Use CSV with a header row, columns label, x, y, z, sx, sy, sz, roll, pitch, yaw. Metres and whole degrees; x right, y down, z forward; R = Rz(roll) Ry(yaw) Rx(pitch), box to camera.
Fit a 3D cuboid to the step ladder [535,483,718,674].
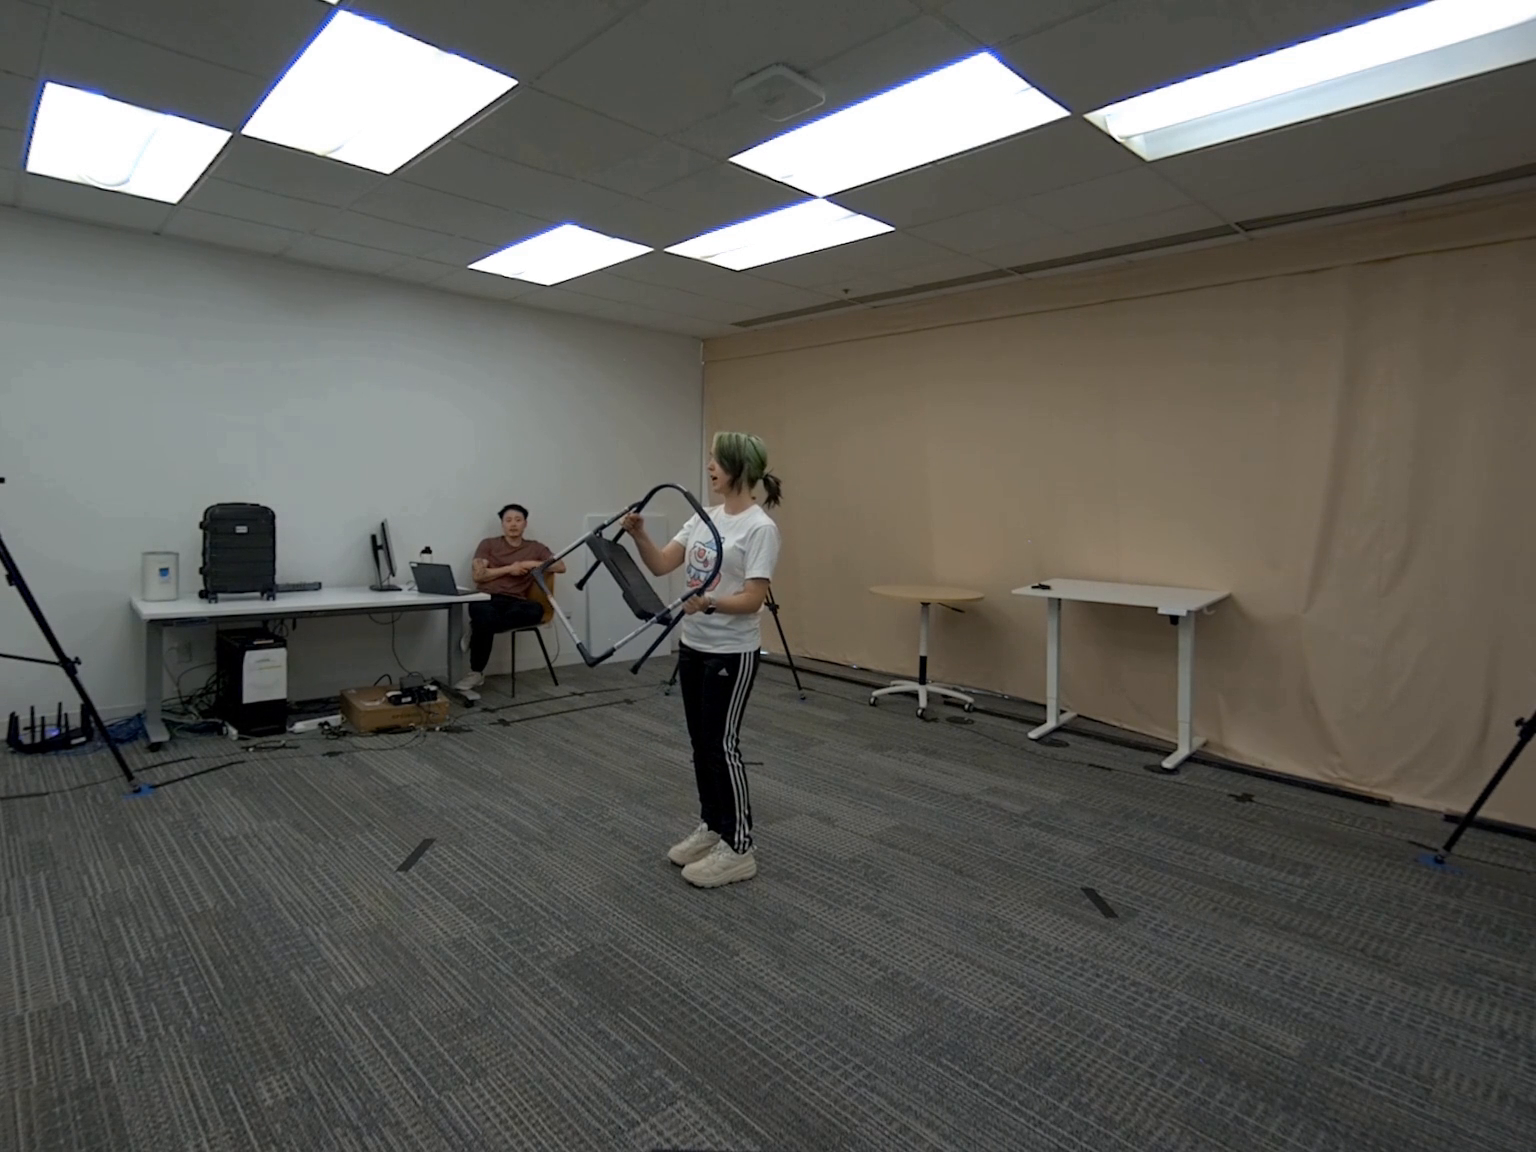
label,x,y,z,sx,sy,sz,roll,pitch,yaw
step ladder,-0.438,-0.019,2.925,0.606,0.440,0.341,-41,-21,9
